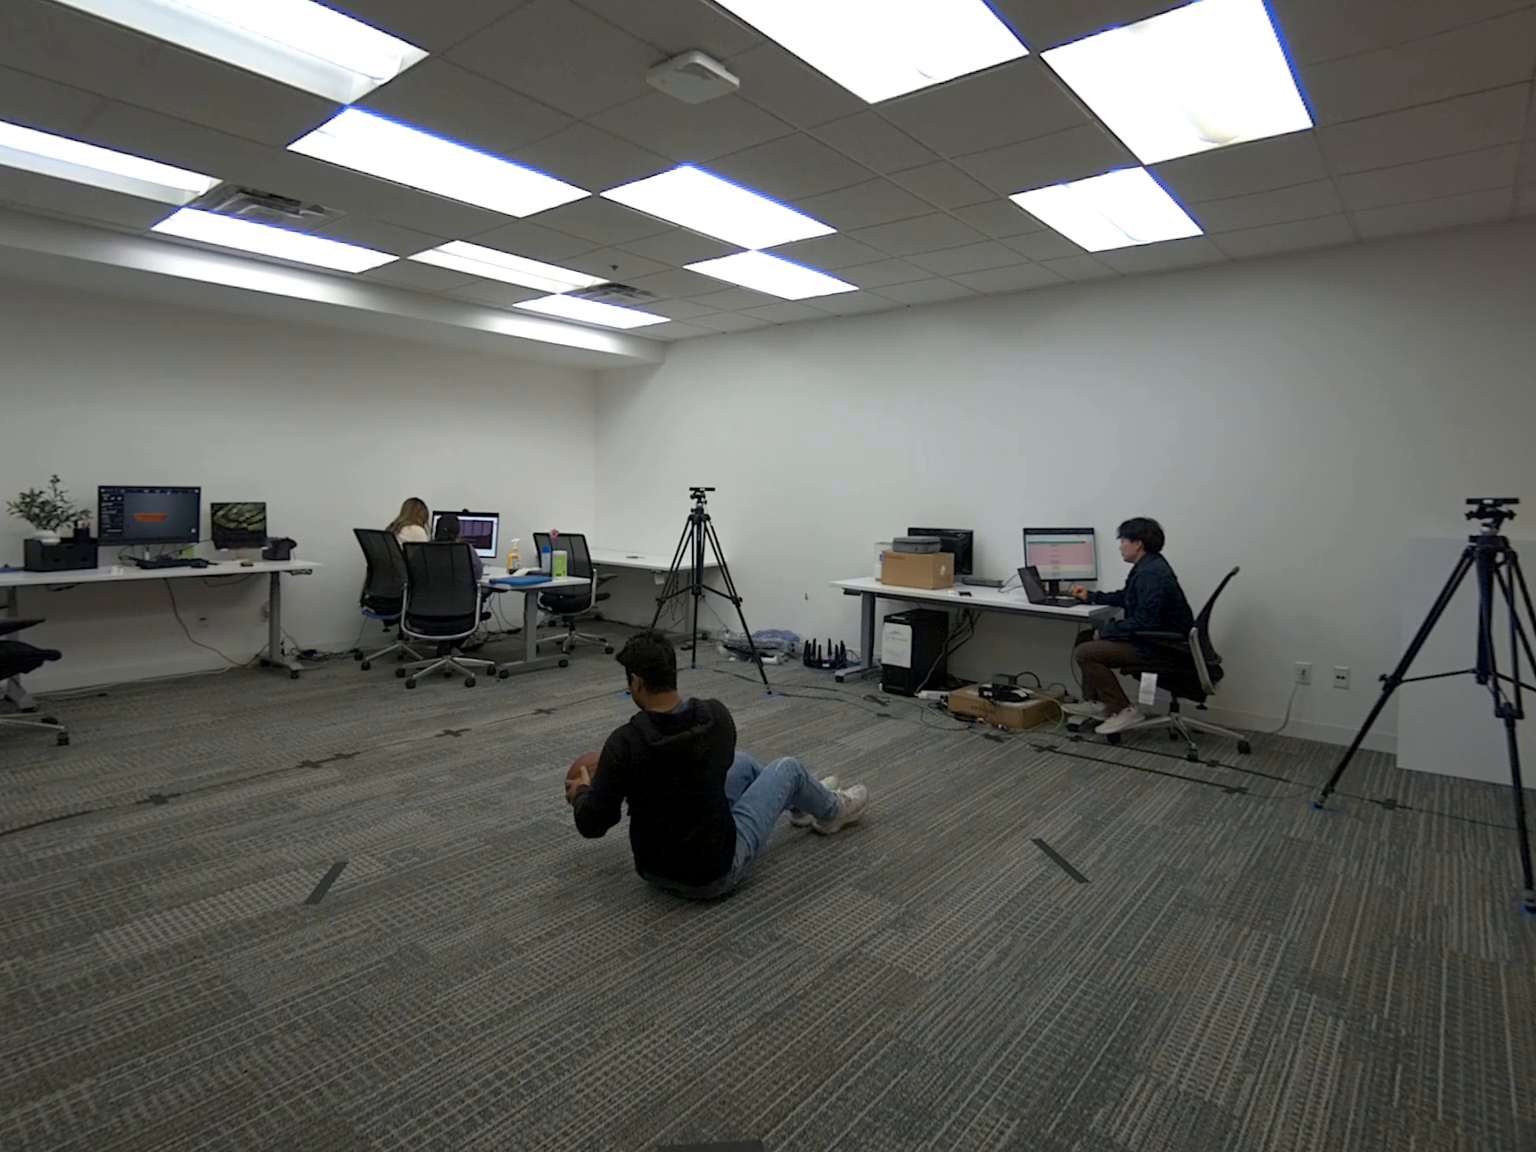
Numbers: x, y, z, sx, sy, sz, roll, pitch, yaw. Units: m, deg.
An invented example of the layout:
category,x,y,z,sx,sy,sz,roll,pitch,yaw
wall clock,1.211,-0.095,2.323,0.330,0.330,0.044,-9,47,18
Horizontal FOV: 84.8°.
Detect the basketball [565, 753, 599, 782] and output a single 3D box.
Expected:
category,x,y,z,sx,sy,sz,roll,pitch,yaw
basketball,-0.646,0.784,3.242,0.235,0.235,0.237,1,4,-2
